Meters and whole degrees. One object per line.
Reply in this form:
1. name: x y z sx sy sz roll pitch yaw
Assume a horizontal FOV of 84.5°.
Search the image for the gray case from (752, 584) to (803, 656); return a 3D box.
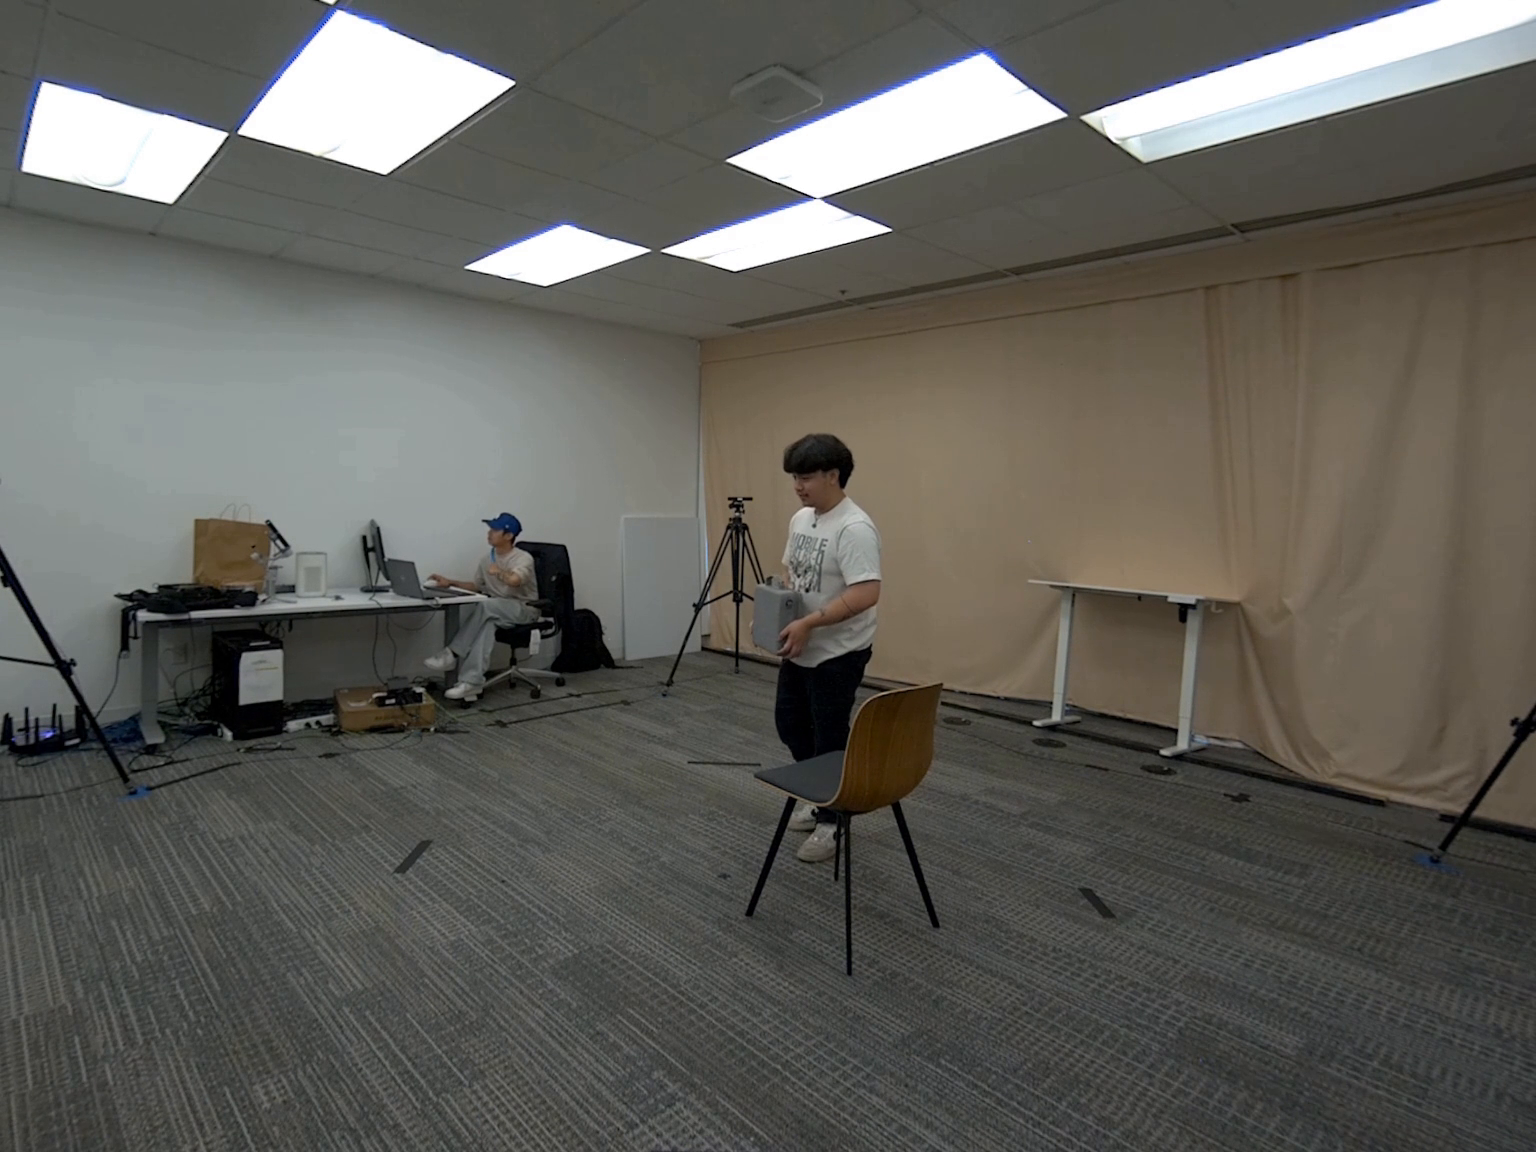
1. gray case: 0.025 0.157 3.259 0.102 0.259 0.262 -1 6 -25
